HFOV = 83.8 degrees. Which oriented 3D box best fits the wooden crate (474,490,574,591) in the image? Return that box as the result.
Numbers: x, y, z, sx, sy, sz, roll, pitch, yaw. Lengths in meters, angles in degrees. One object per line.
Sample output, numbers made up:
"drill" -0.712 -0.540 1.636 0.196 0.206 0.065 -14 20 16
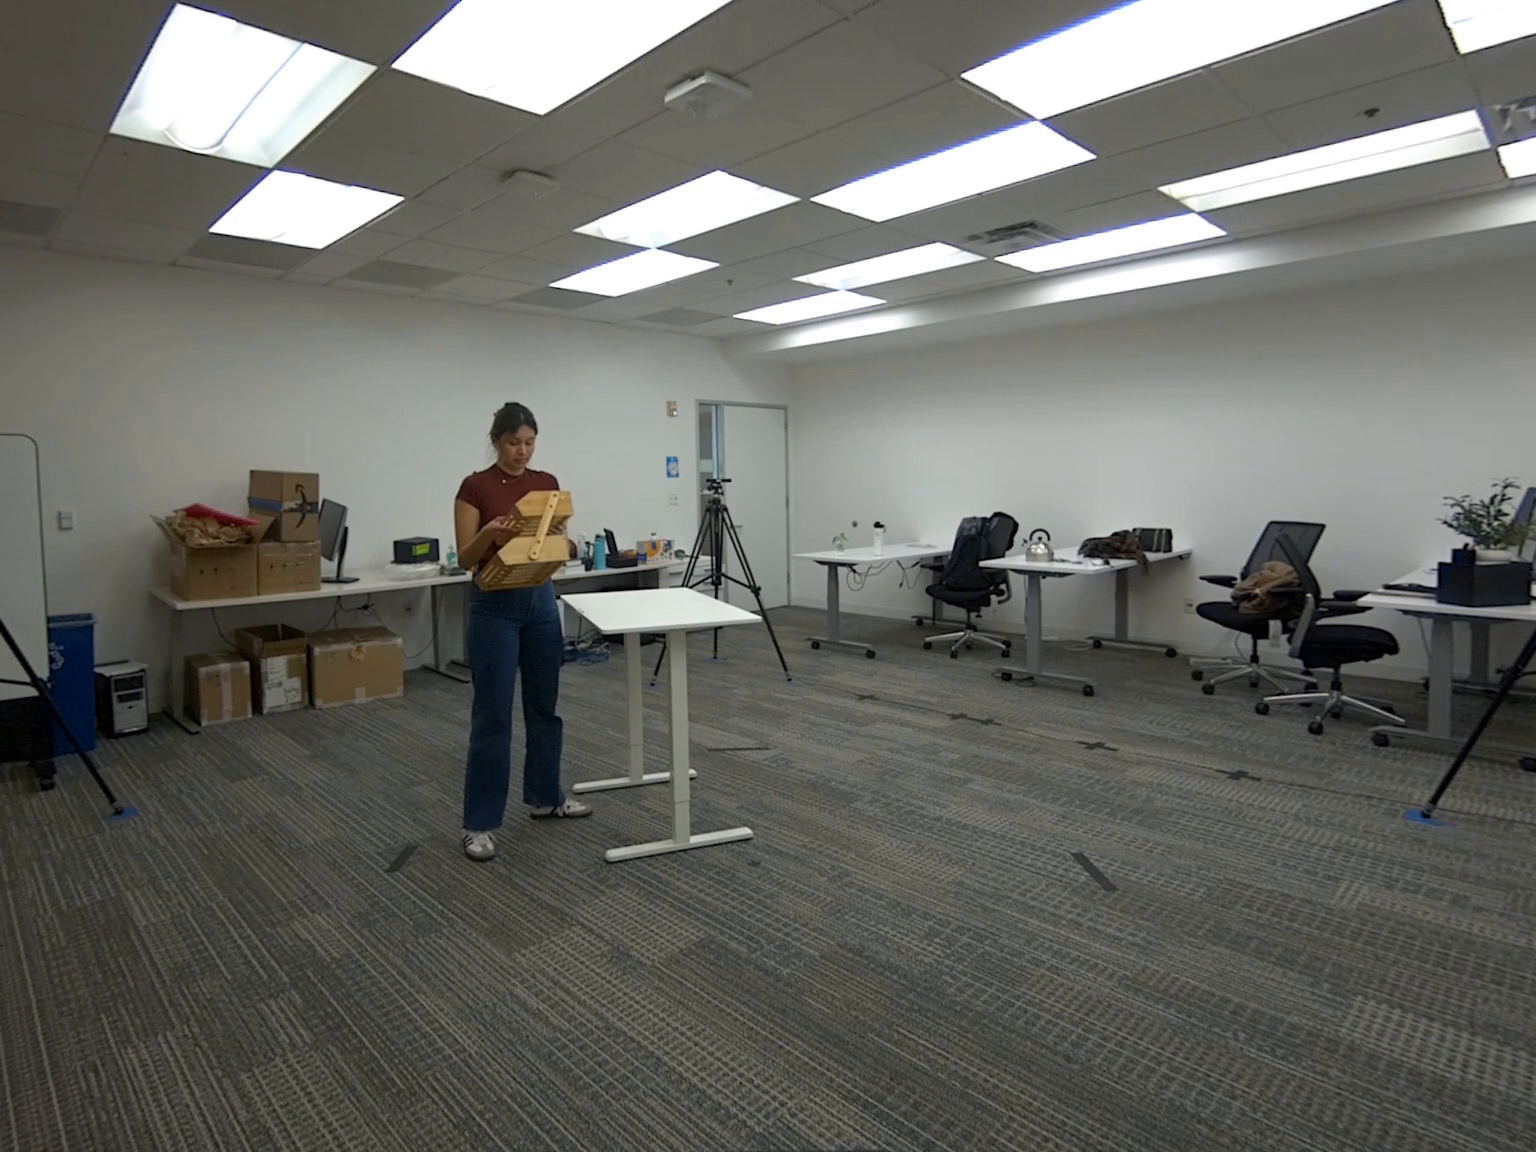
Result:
"wooden crate" -0.889 -0.127 3.072 0.294 0.278 0.327 -4 -16 -35
